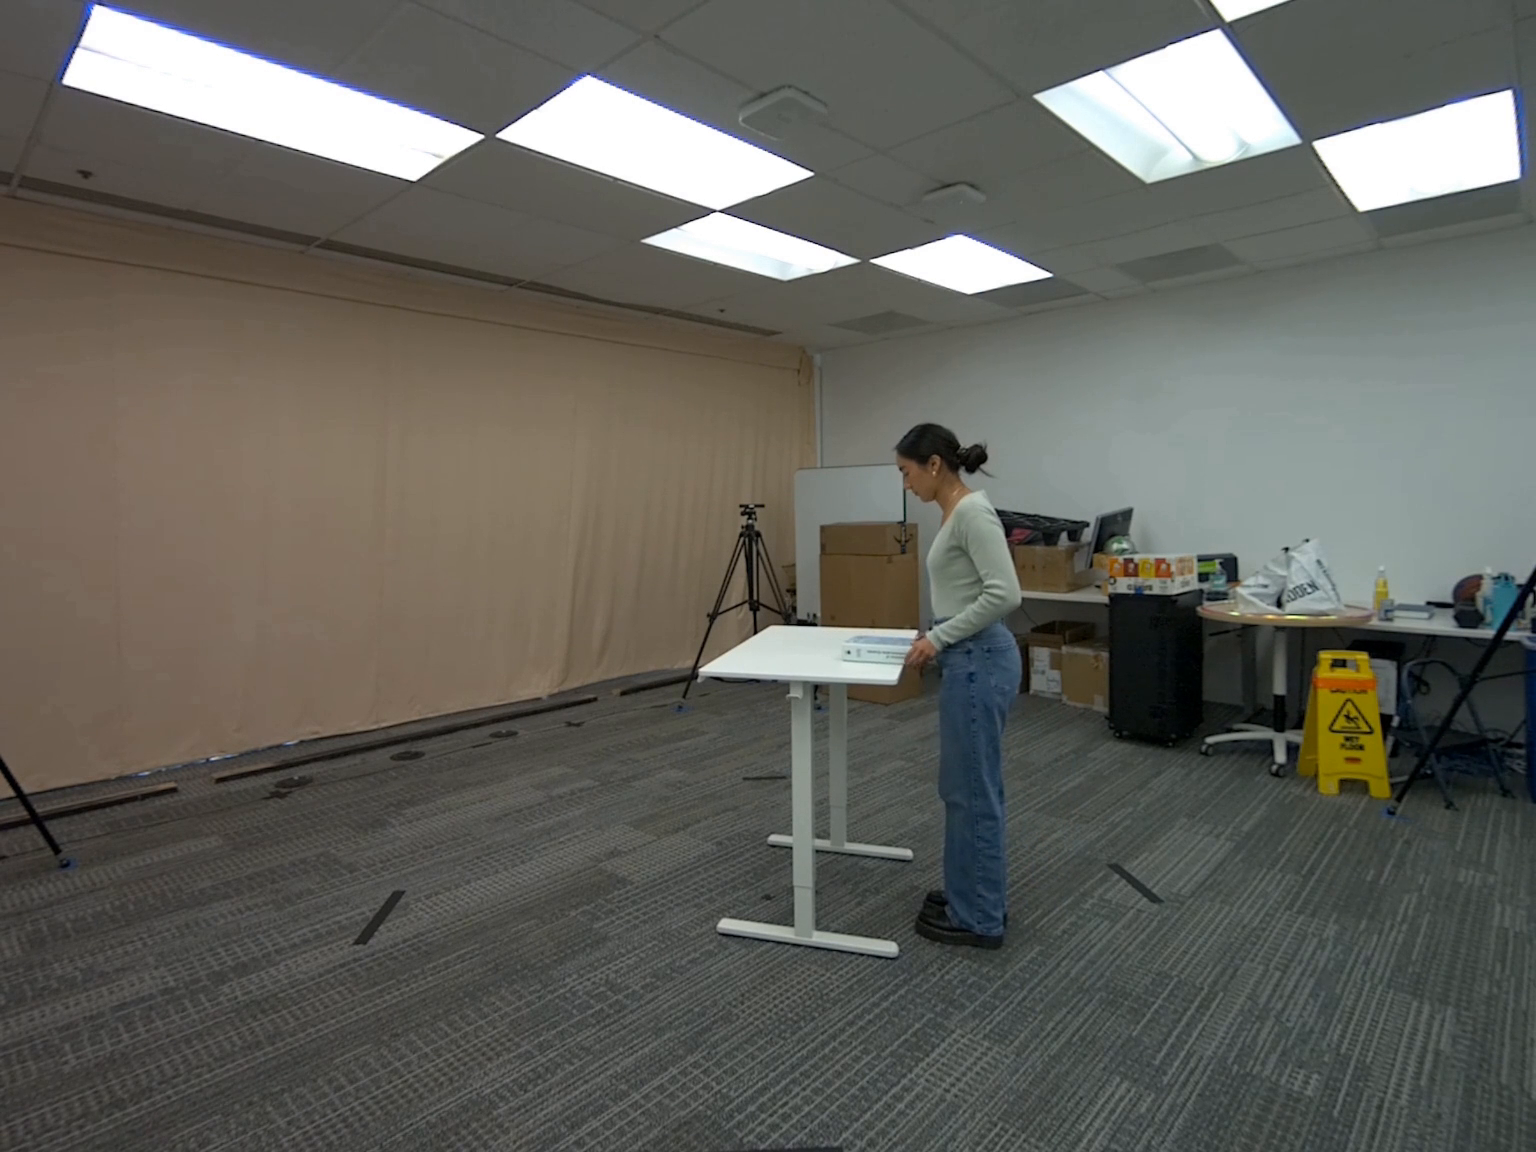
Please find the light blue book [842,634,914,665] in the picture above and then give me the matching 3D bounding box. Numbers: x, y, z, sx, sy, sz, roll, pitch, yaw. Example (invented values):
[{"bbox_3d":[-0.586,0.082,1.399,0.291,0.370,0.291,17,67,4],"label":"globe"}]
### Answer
[{"bbox_3d":[0.396,0.243,2.753,0.267,0.059,0.187,2,5,23],"label":"light blue book"}]
